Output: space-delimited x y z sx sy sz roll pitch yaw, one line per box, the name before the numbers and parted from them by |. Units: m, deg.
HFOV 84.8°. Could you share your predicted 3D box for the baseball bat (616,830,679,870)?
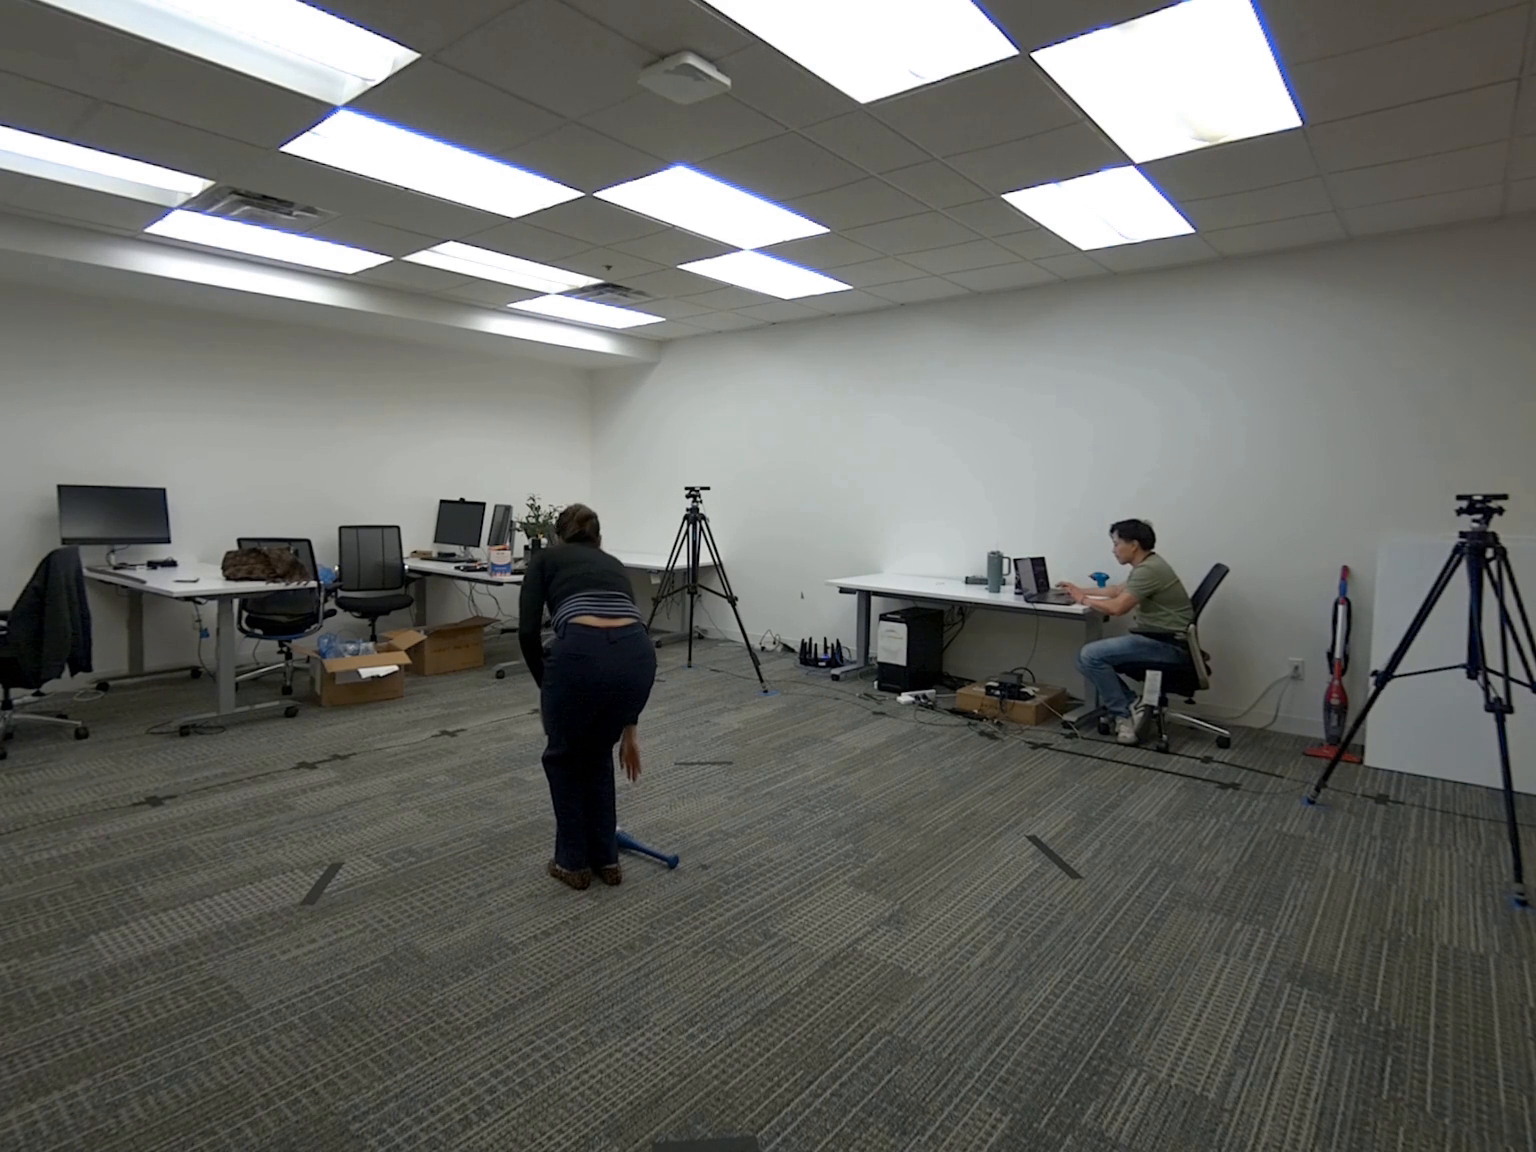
baseball bat | -0.572 1.012 3.258 0.562 0.088 0.086 9 8 37
